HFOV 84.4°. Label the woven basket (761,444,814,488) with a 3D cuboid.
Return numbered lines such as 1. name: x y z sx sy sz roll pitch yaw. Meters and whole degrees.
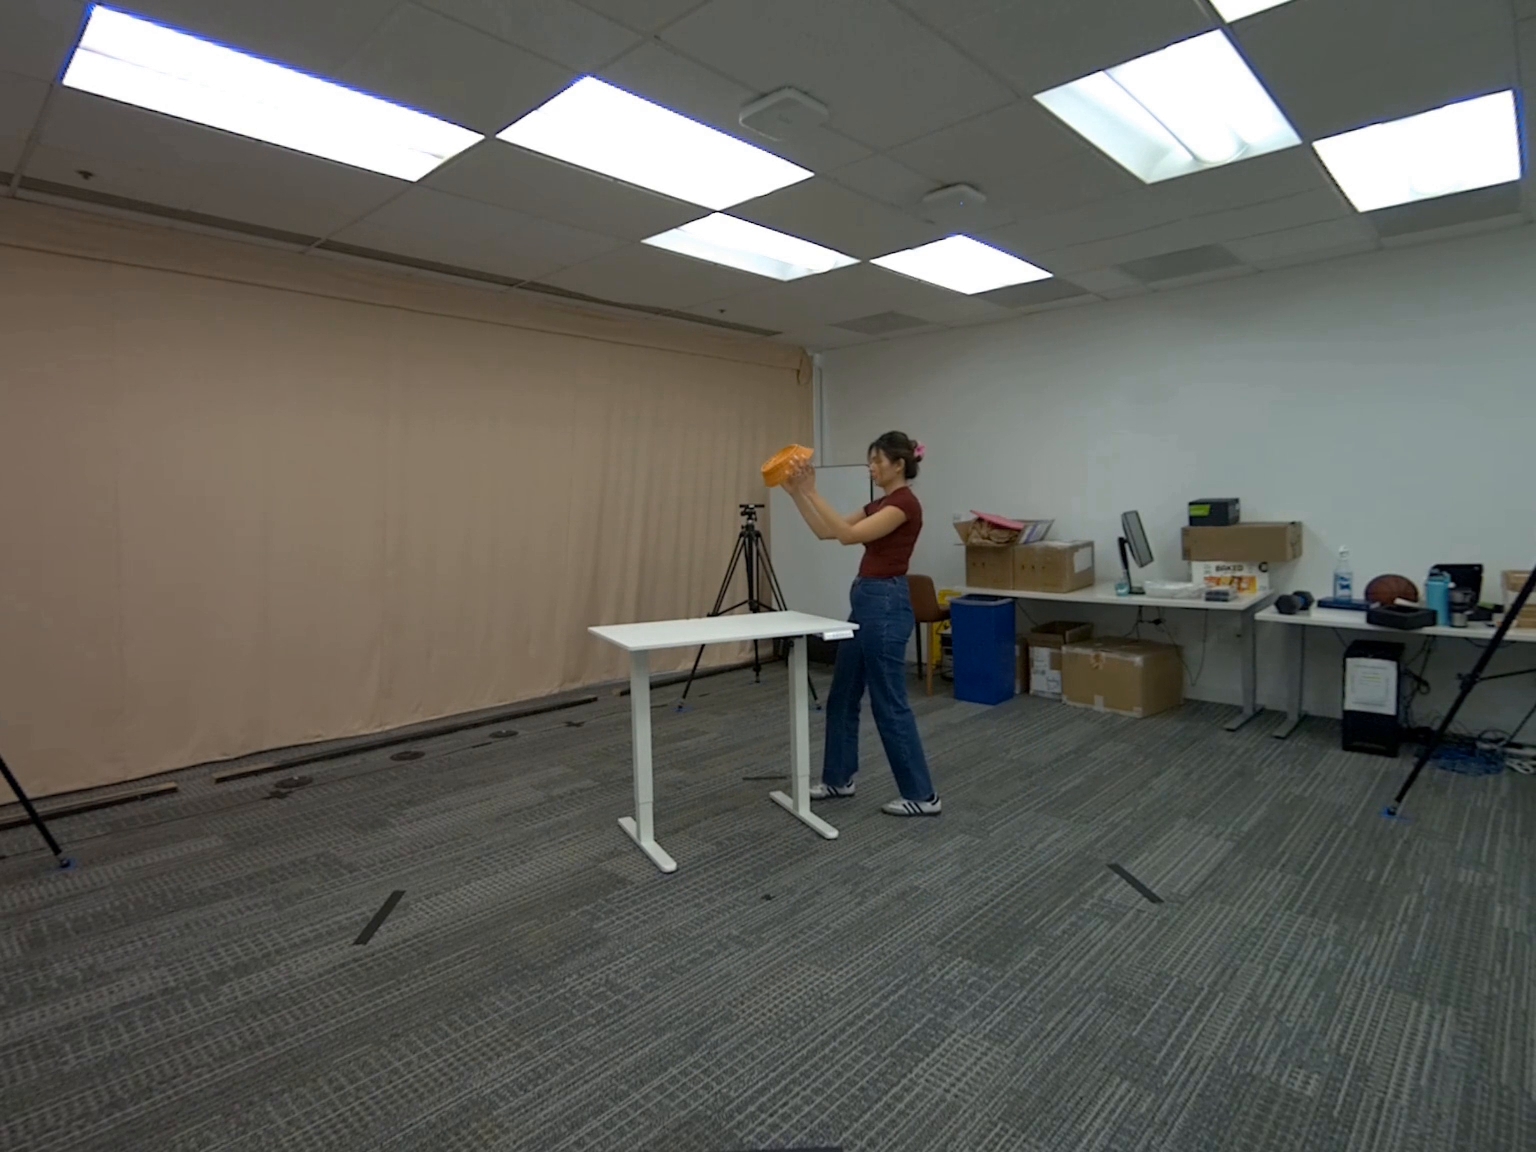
1. woven basket: 0.086 -0.499 3.729 0.252 0.072 0.357 -45 15 -9
